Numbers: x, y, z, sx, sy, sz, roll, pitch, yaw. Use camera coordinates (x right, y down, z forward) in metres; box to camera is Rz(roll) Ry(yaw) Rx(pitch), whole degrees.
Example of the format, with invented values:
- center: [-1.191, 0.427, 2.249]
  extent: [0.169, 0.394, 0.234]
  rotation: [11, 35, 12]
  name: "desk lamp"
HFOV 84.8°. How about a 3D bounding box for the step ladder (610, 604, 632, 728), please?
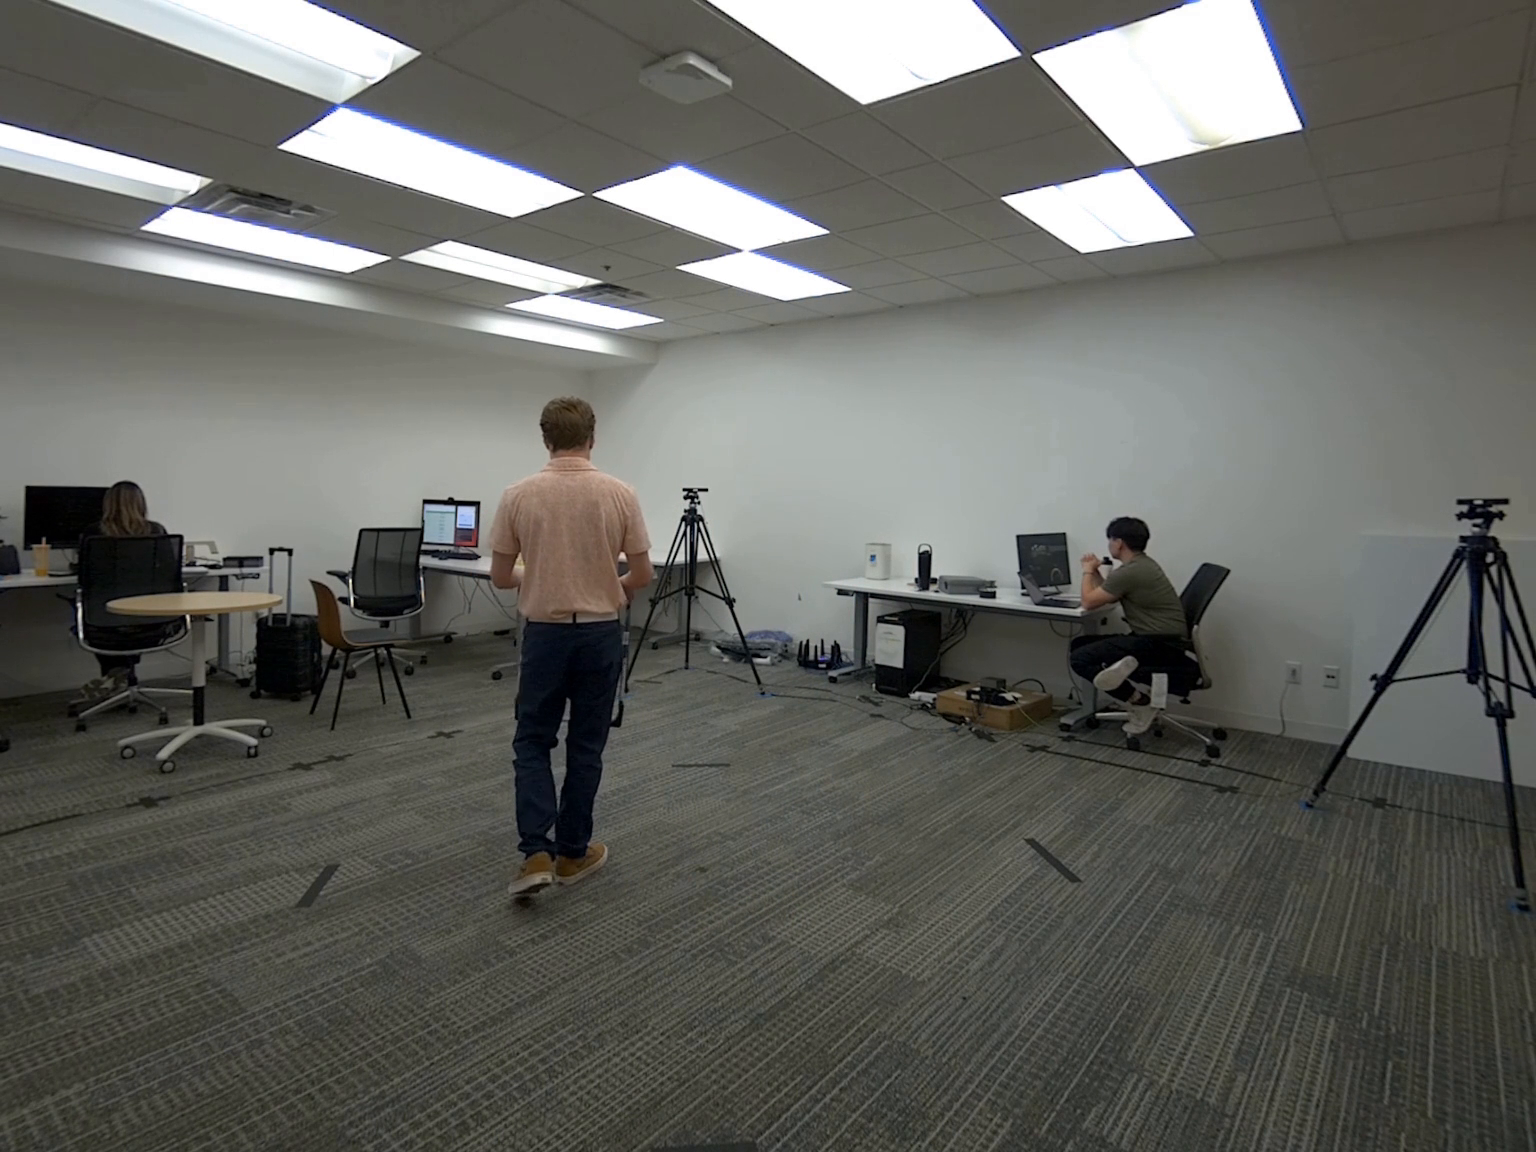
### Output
- center: [-0.774, 0.240, 3.361]
  extent: [0.429, 0.598, 0.356]
  rotation: [4, 16, -5]
  name: "step ladder"
